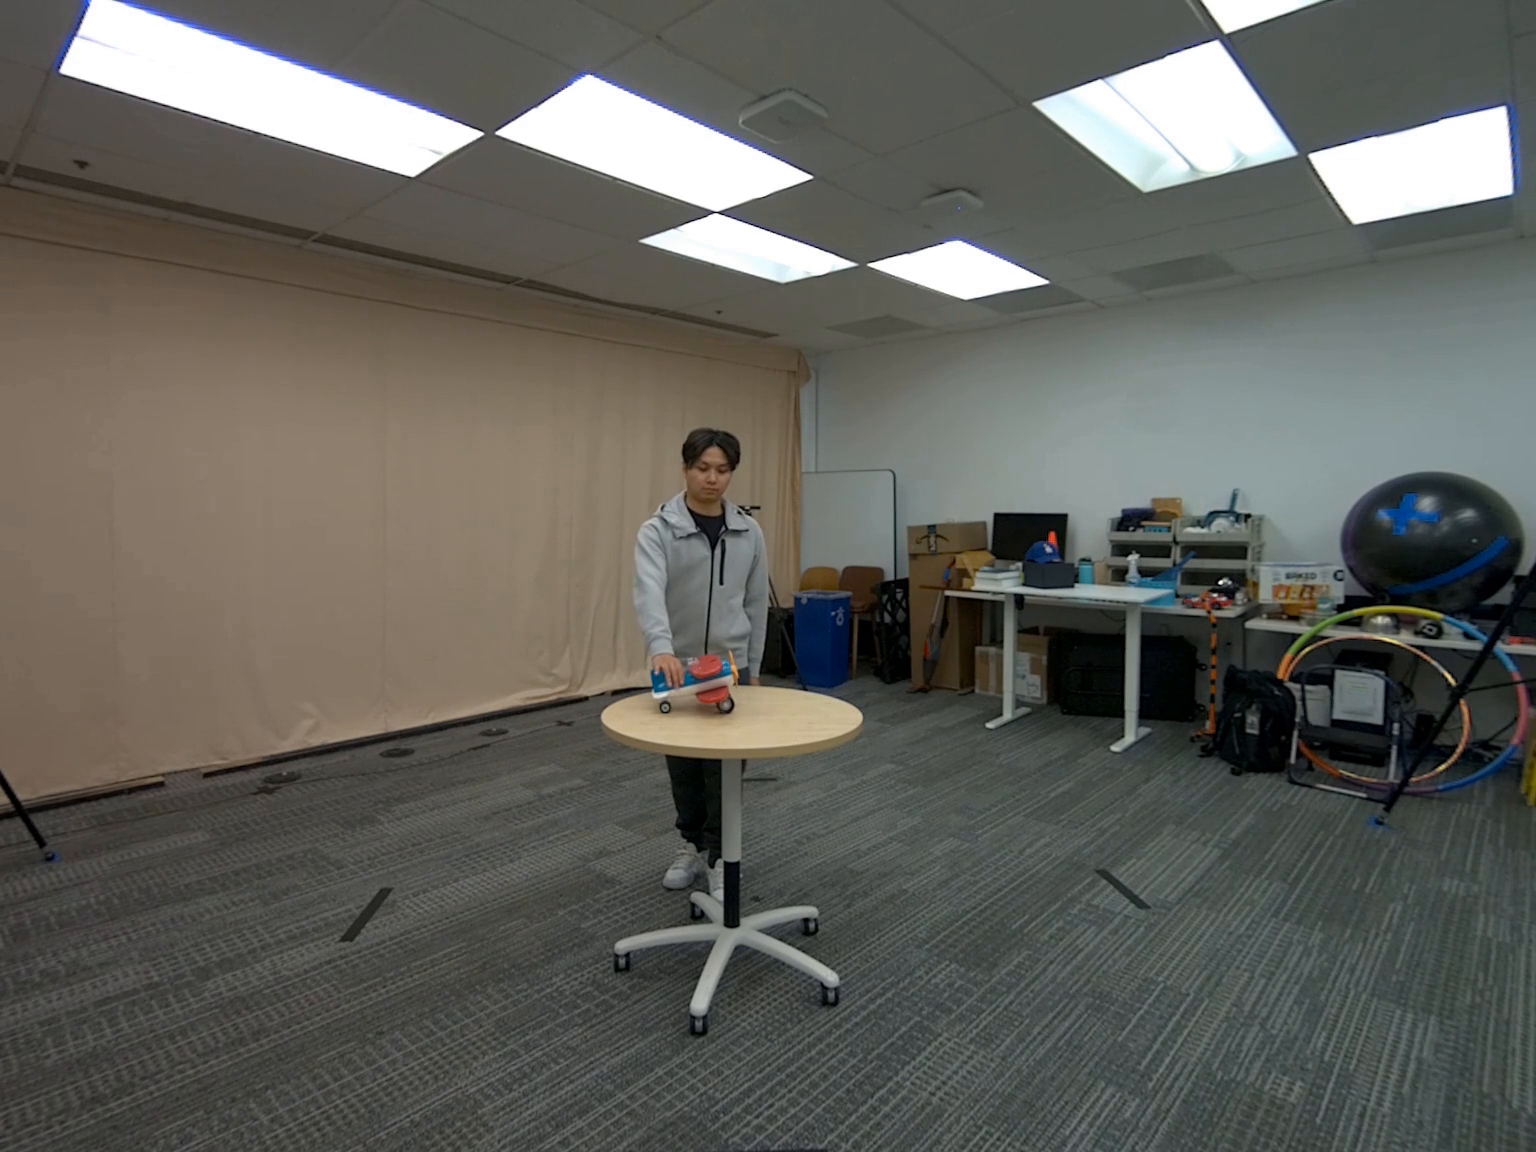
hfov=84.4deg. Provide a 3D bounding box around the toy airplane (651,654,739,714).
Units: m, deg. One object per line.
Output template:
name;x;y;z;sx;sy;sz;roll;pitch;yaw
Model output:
toy airplane;-0.221;0.330;2.485;0.252;0.156;0.259;-3;5;-34
